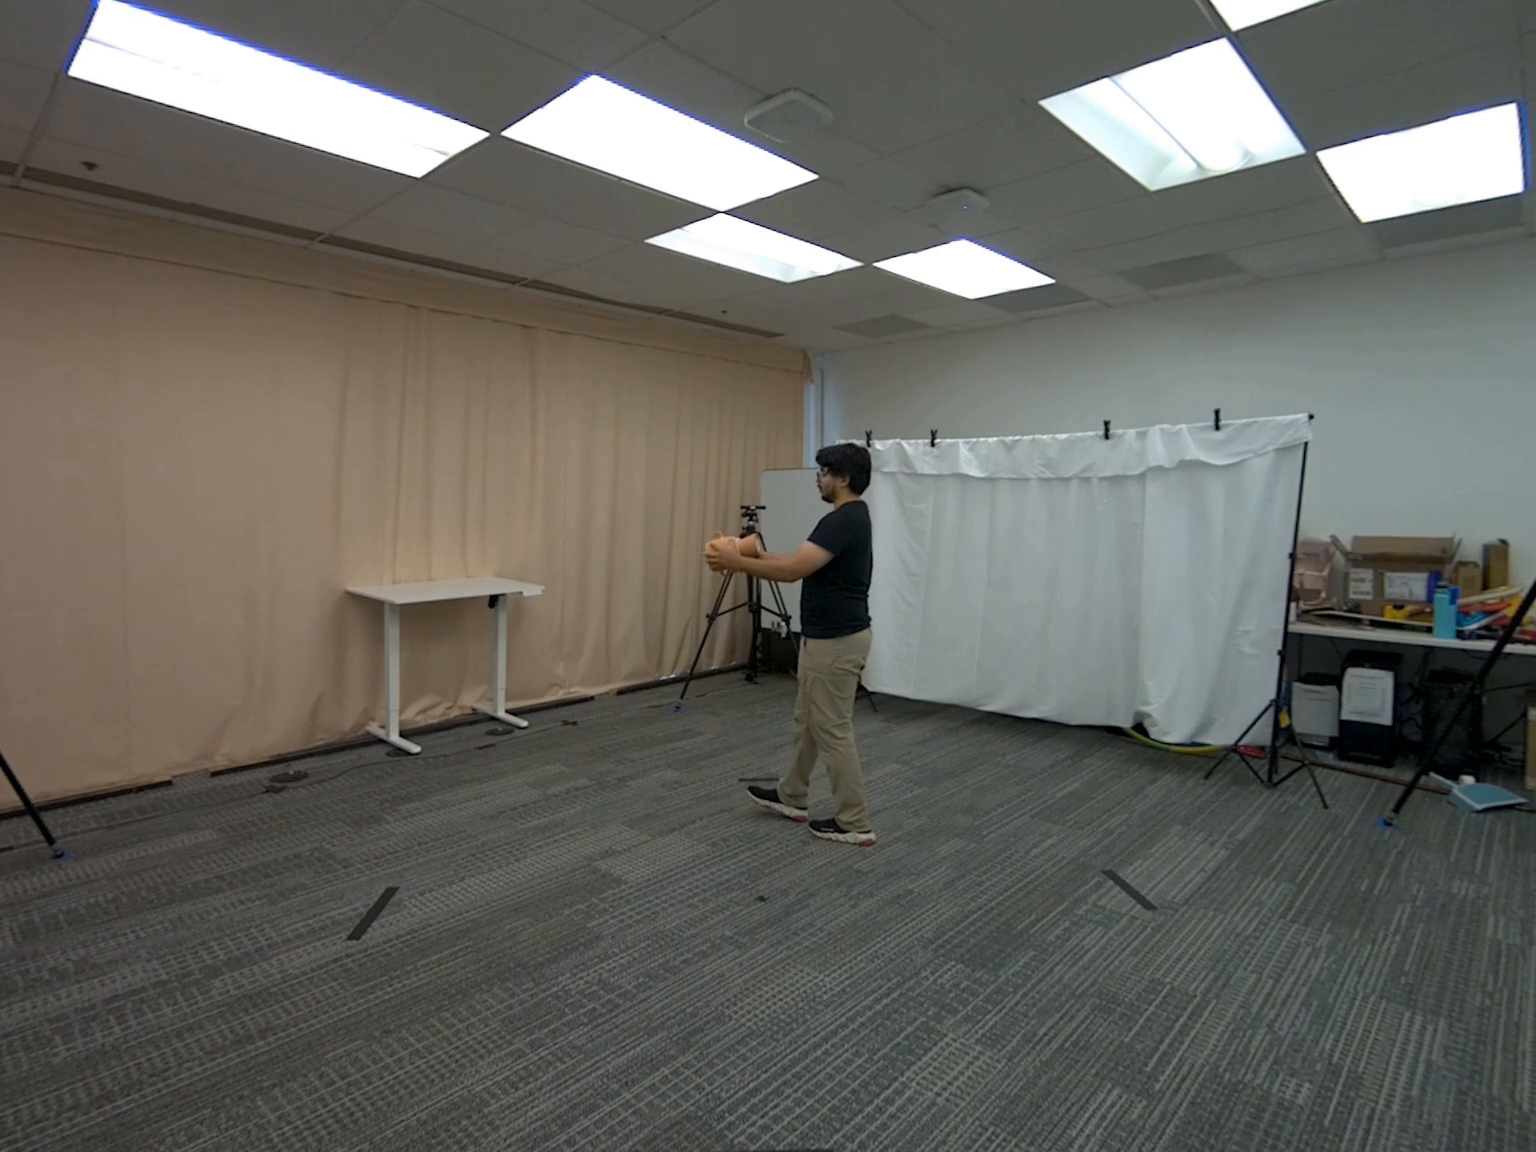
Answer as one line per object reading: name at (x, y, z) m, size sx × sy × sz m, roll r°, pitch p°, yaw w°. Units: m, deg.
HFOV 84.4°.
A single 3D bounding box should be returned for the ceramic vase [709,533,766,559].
ceramic vase at (-0.137, -0.106, 3.581) m, size 0.223 × 0.154 × 0.136 m, roll -14°, pitch 34°, yaw 18°
